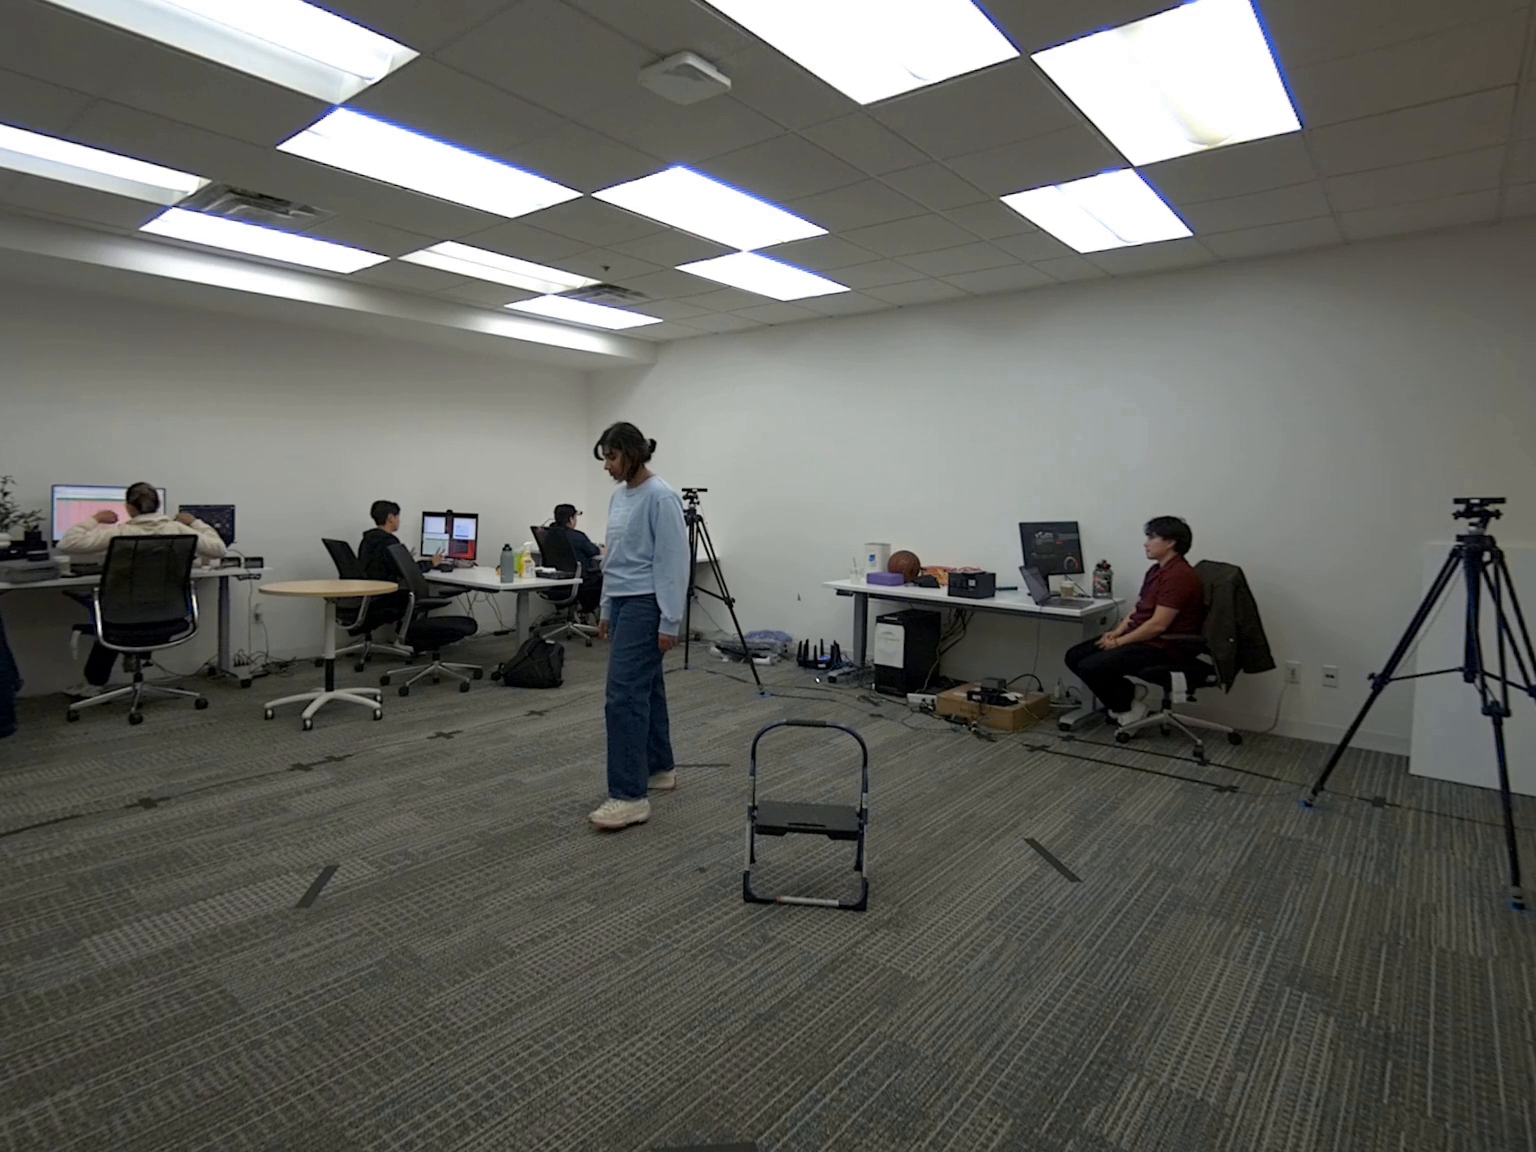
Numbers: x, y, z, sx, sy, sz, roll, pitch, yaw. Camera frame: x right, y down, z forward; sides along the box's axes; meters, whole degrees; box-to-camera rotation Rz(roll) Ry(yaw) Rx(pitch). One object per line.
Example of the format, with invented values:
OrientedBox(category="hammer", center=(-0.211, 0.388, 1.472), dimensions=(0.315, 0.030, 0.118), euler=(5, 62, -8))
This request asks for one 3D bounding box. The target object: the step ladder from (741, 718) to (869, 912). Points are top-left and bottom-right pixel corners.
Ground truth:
OrientedBox(category="step ladder", center=(0.131, 0.784, 2.992), dimensions=(0.433, 0.604, 0.348), euler=(1, 3, 4))
